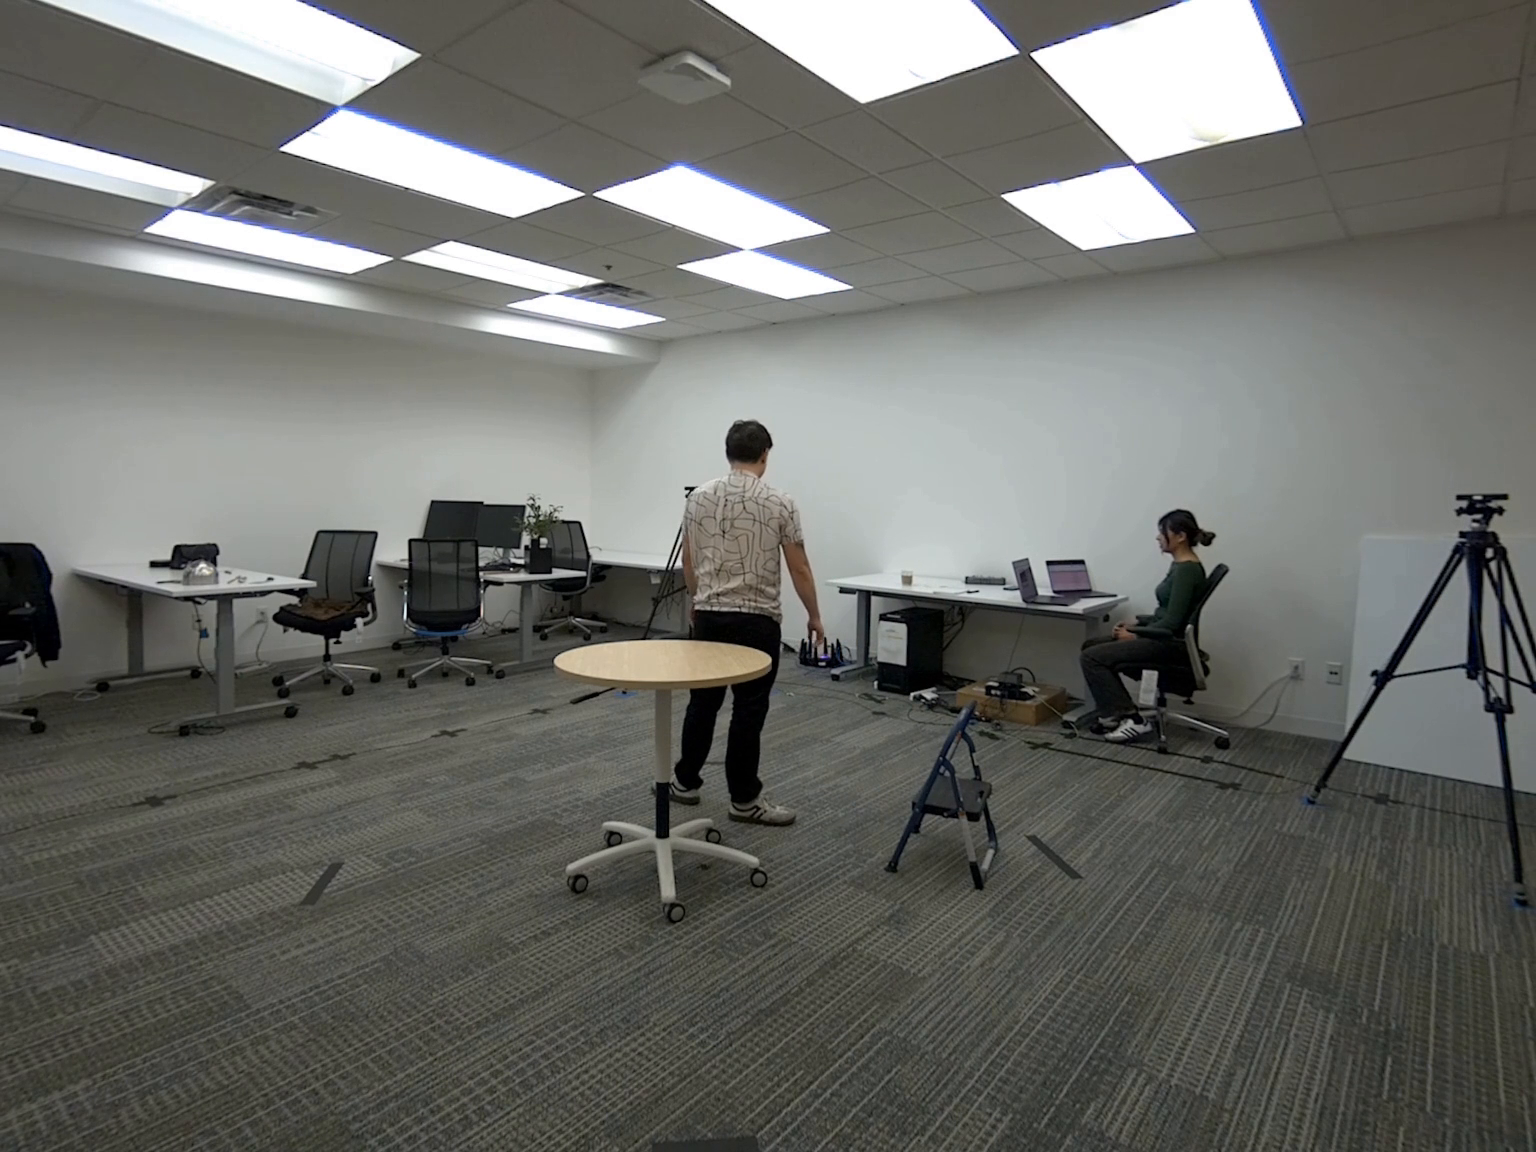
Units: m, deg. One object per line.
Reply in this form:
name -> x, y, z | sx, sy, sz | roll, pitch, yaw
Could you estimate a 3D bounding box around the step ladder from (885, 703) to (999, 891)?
step ladder -> 0.670, 0.767, 3.218 | 0.358, 0.604, 0.421 | 3, 4, 24
